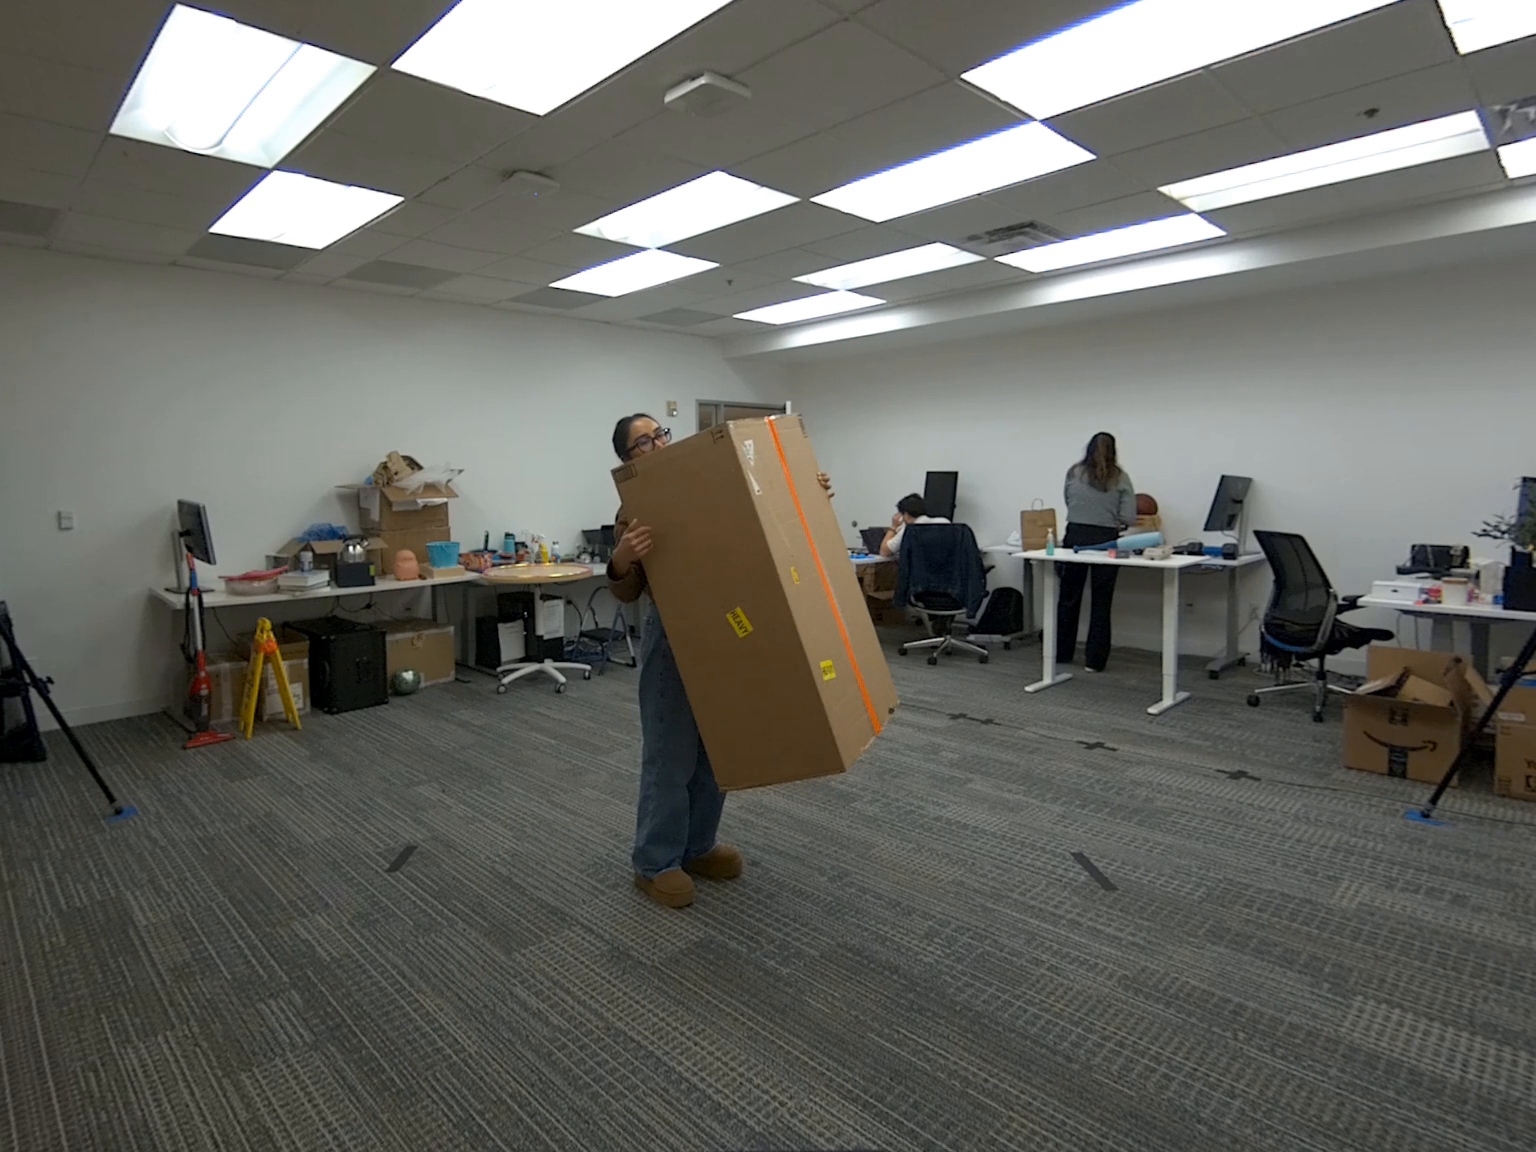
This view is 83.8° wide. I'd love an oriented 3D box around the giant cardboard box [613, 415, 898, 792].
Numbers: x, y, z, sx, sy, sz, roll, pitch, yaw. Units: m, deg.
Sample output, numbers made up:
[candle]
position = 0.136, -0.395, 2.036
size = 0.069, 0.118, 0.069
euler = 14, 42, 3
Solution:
[giant cardboard box]
position = -0.011, 0.054, 2.692
size = 0.433, 1.025, 0.569
euler = -19, 1, 28
